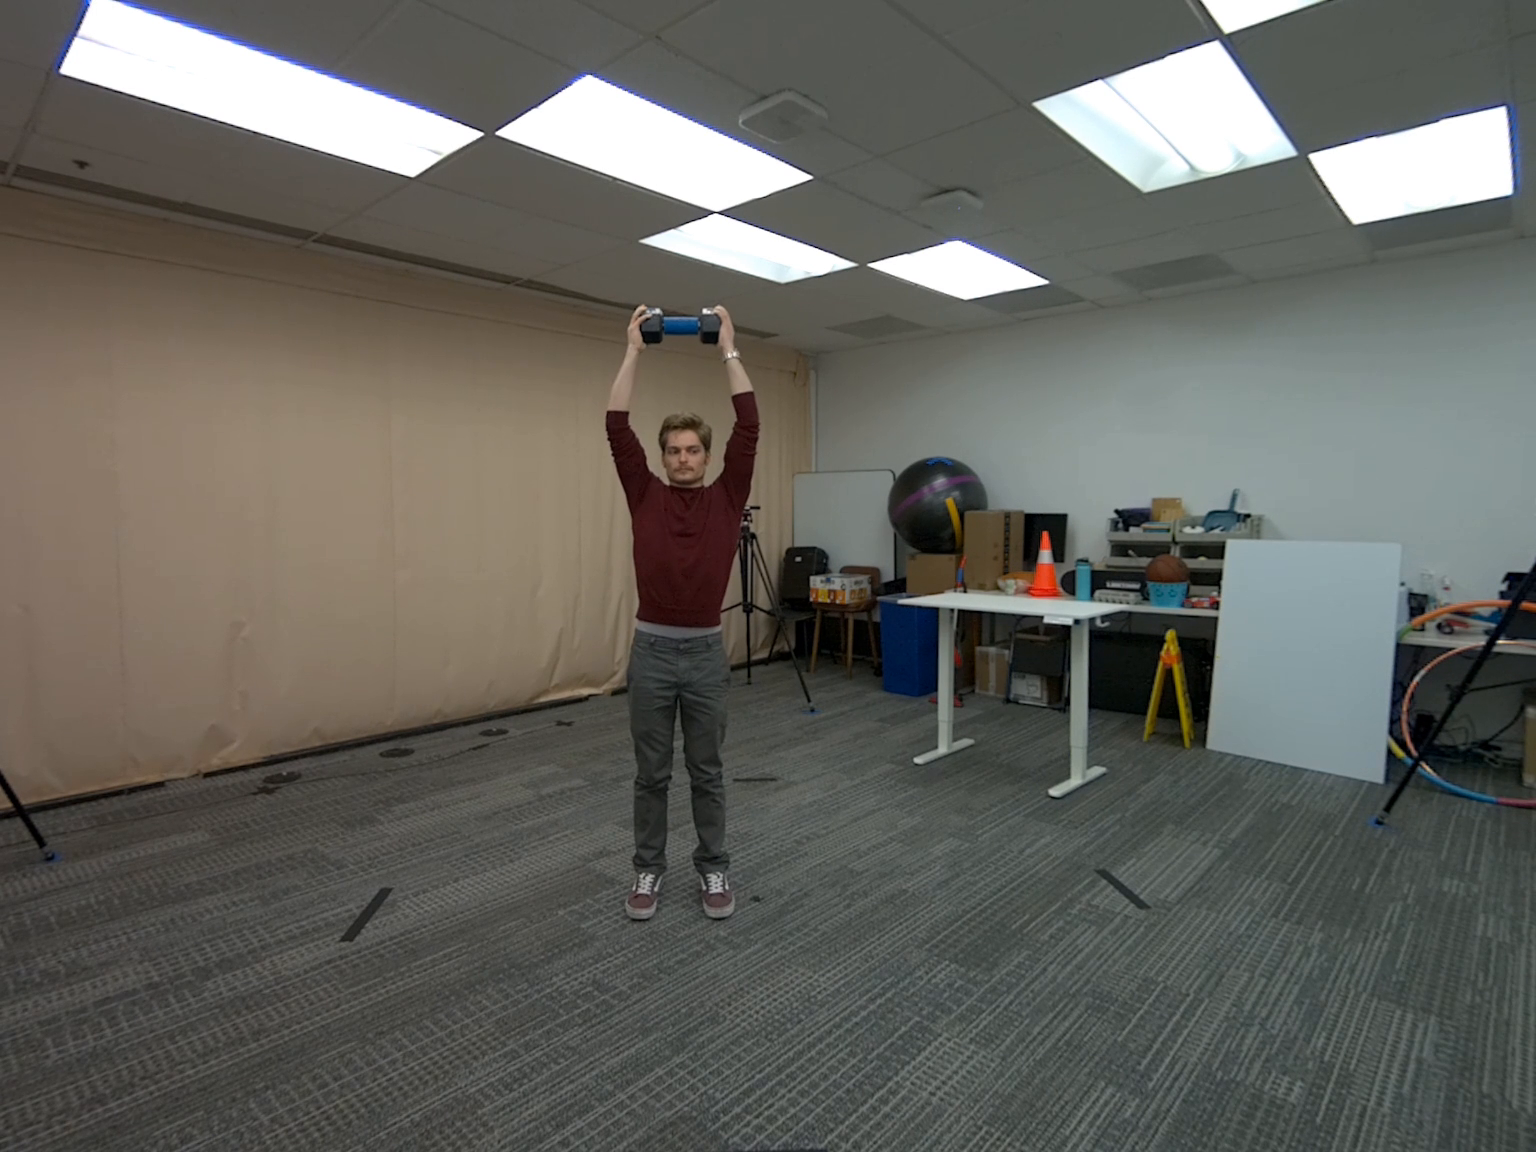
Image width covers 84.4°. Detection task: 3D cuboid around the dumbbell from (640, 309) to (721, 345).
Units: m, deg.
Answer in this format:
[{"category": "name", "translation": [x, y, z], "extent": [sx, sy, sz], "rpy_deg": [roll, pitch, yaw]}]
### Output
[{"category": "dumbbell", "translation": [-0.301, -0.868, 2.953], "extent": [0.293, 0.107, 0.125], "rpy_deg": [1, 29, -1]}]
